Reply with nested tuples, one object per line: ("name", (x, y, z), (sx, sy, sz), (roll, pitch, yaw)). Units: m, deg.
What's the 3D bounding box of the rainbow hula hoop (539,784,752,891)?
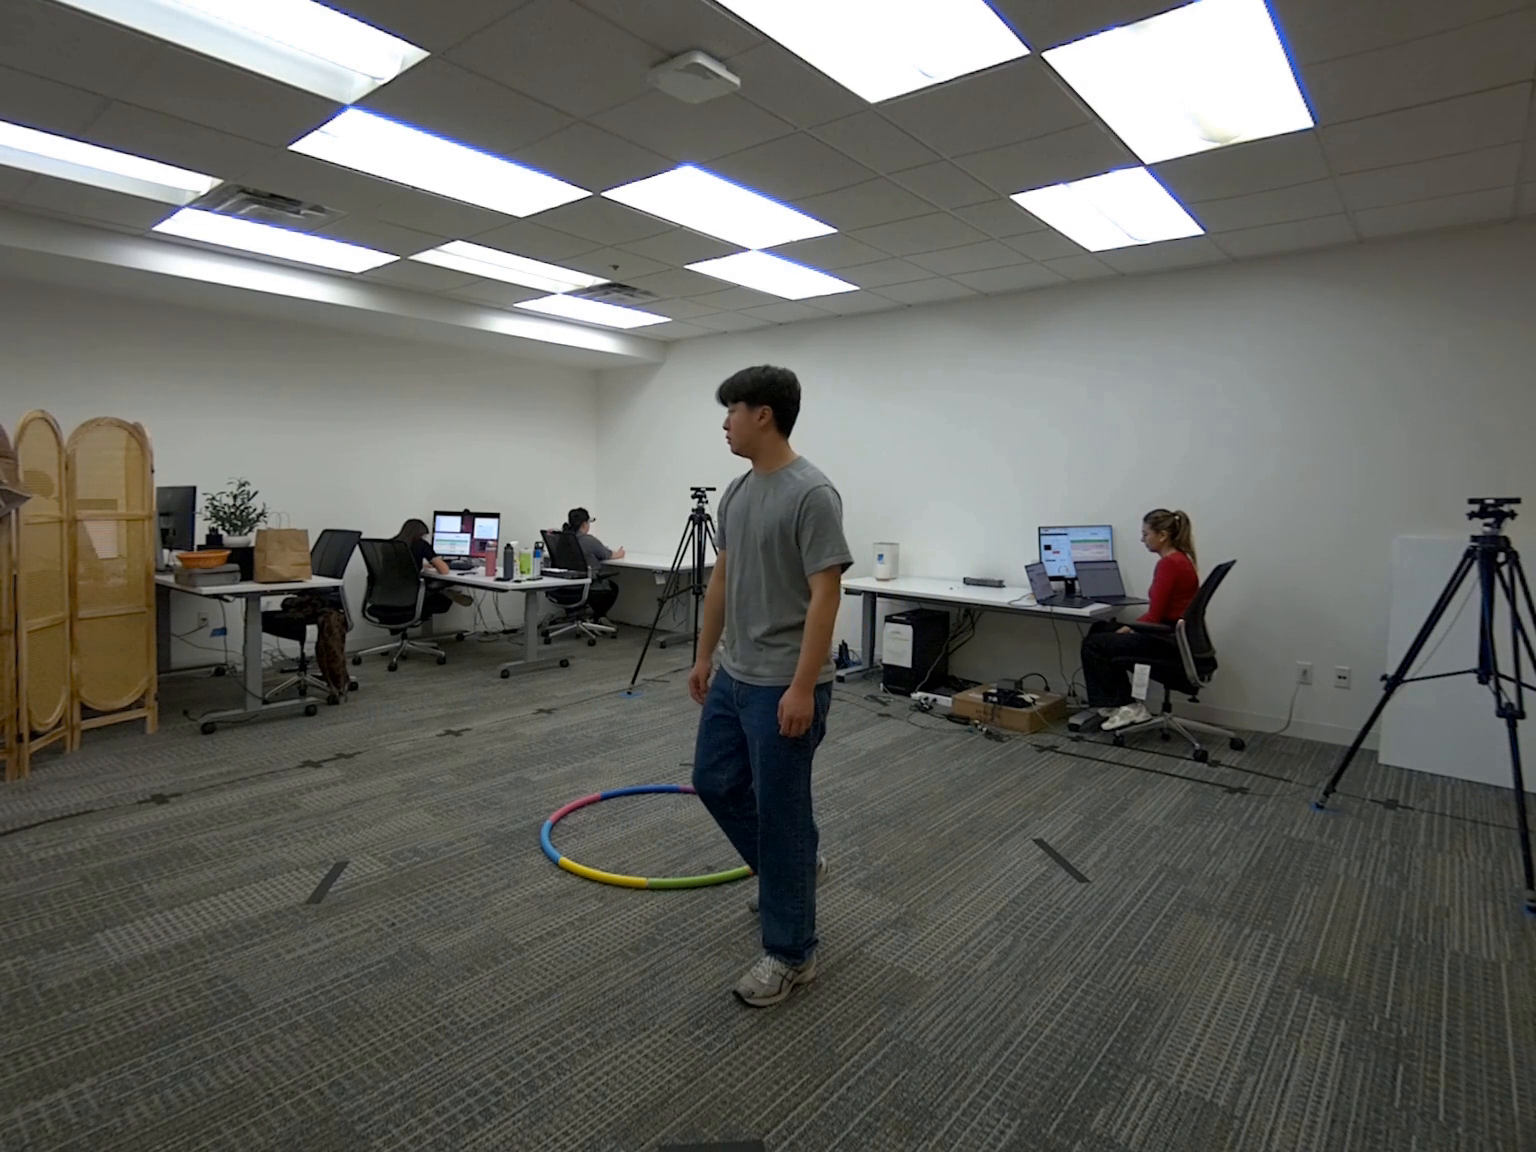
("rainbow hula hoop", (-0.418, 1.002, 3.404), (0.978, 0.035, 0.984), (1, 6, -2))
